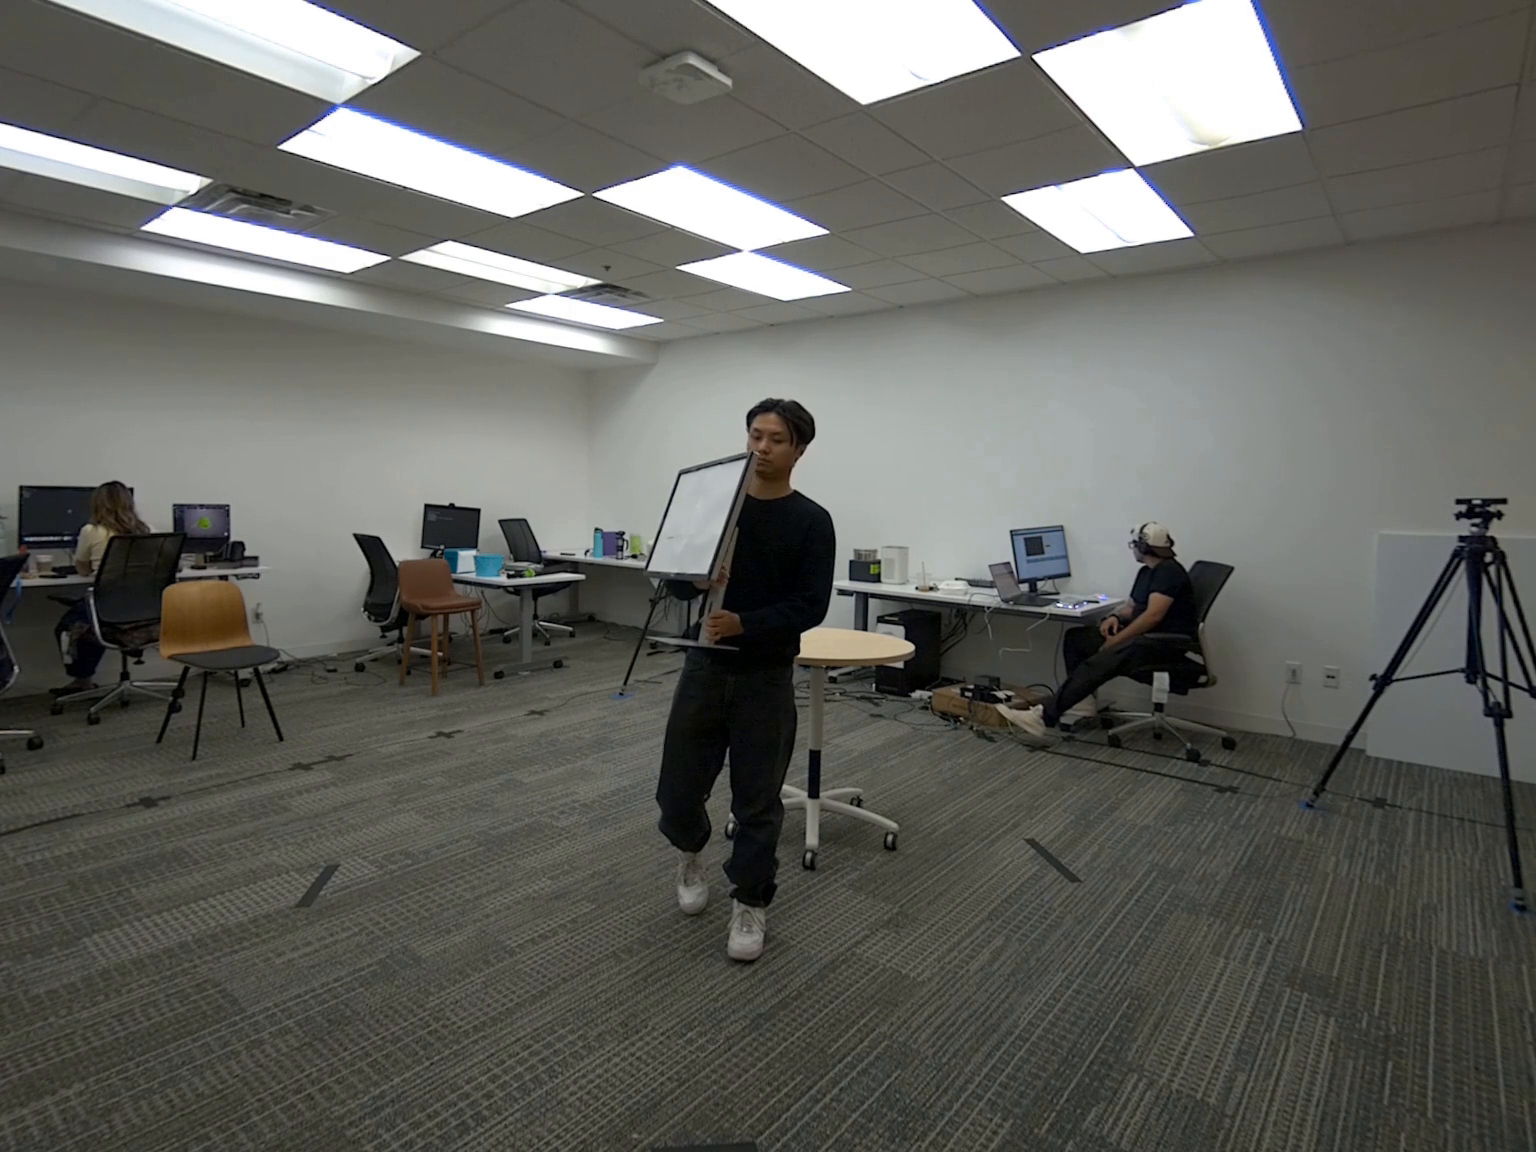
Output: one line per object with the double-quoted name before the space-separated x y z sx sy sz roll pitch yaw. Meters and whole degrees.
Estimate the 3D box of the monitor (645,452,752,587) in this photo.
"monitor" -0.205 -0.074 2.476 0.170 0.516 0.543 2 0 -26
